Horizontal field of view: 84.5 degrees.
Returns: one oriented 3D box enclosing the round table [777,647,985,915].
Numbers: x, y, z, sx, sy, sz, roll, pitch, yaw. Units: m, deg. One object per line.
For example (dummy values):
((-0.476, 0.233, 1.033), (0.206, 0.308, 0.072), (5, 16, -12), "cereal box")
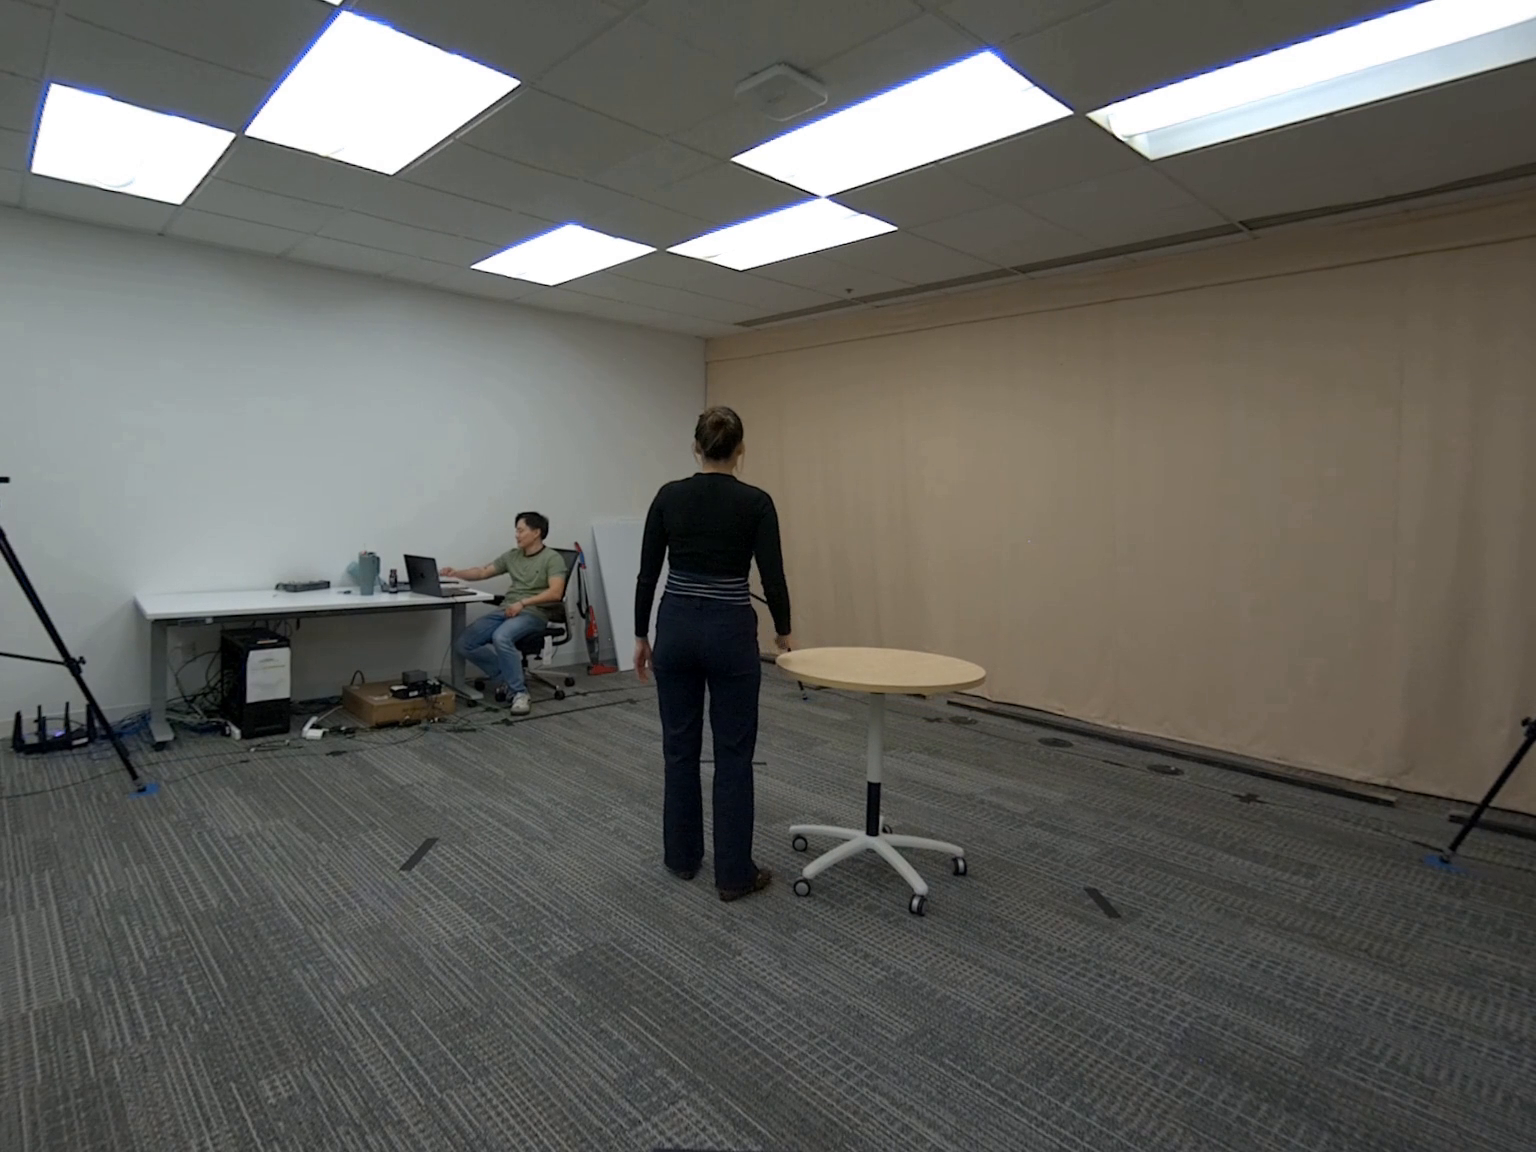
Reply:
((0.393, 0.723, 3.146), (0.763, 0.792, 0.766), (2, 3, -1), "round table")
